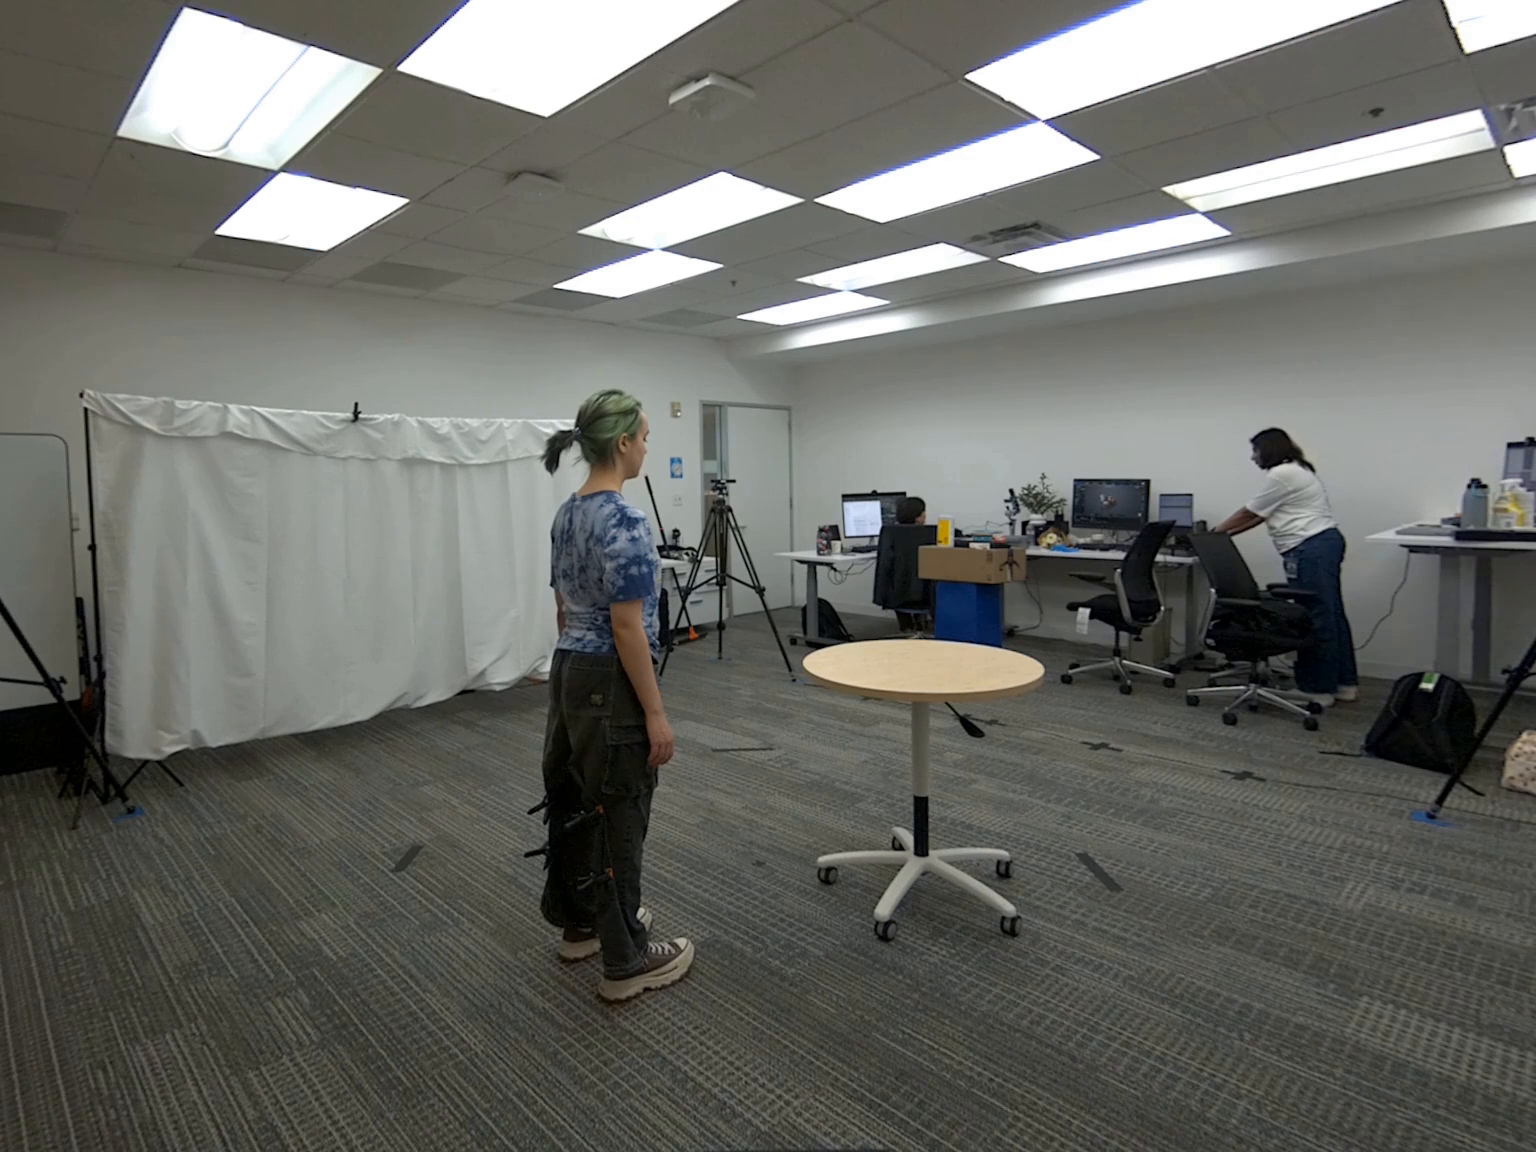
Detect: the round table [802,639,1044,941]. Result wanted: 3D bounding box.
[{"bbox_3d":[0.515,0.682,2.825,0.763,0.791,0.768,-1,5,-2],"label":"round table"}]
